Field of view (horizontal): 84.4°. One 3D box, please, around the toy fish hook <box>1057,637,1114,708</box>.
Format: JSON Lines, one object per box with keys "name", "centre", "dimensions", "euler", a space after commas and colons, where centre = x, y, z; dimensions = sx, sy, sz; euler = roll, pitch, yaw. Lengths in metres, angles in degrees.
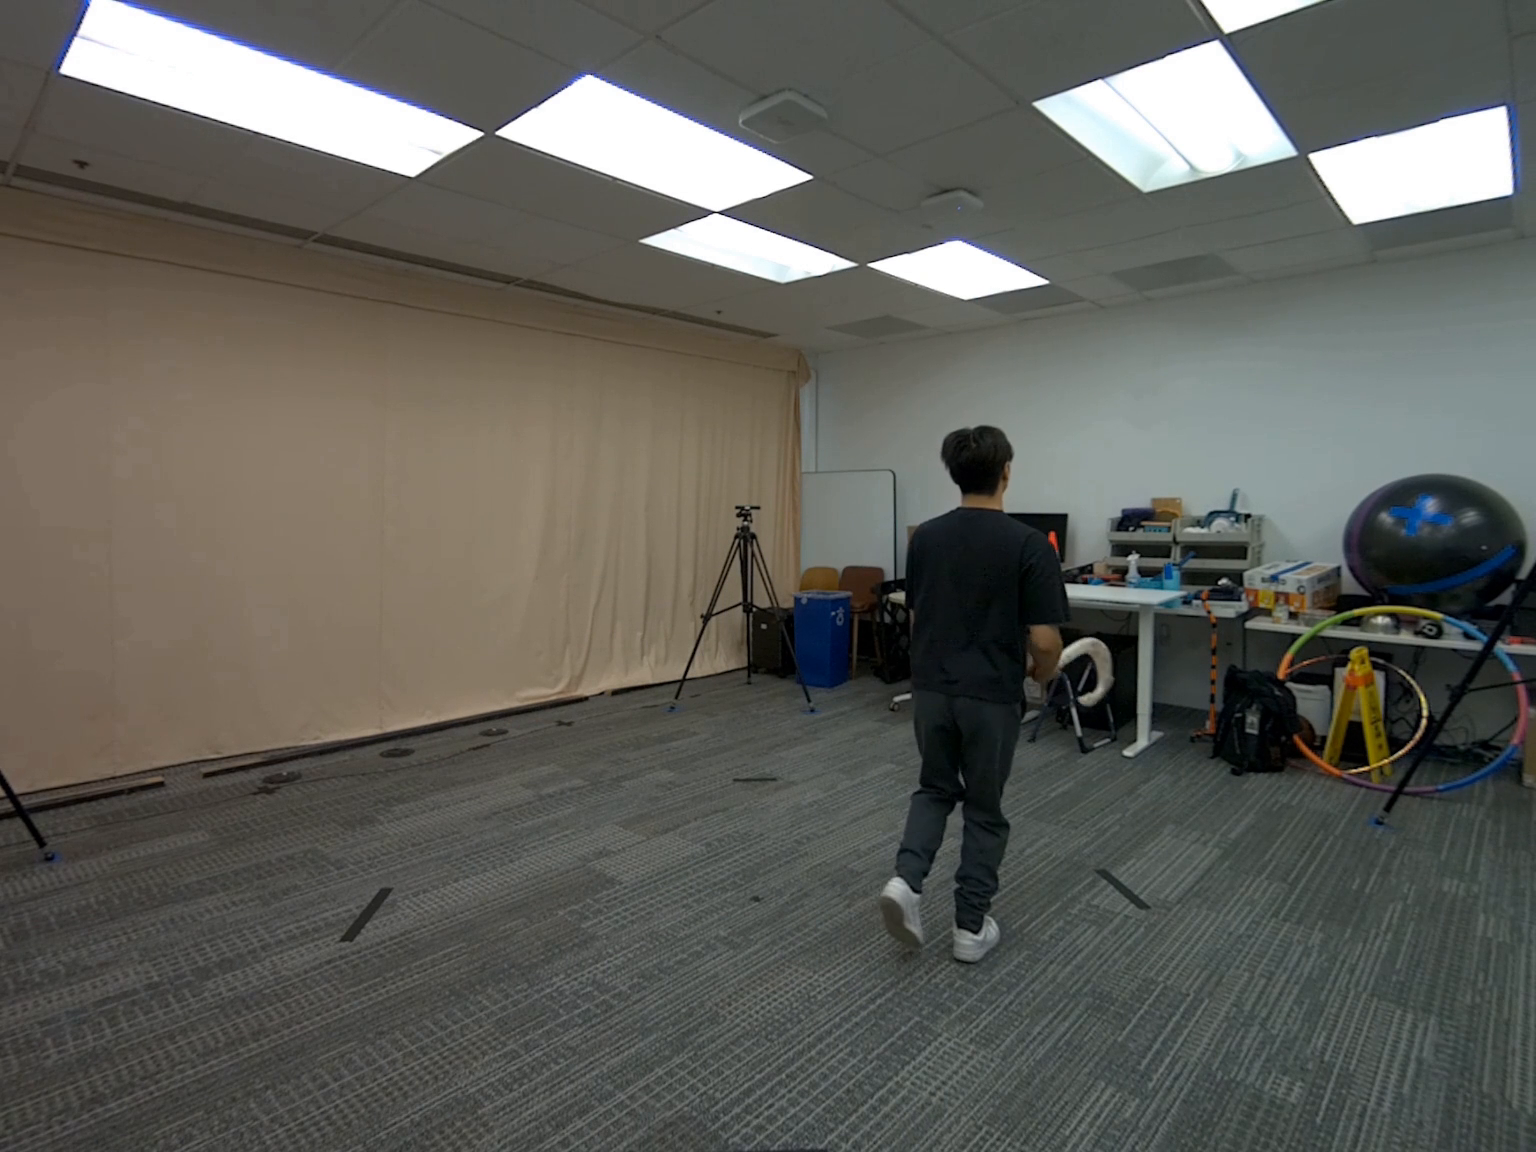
{"name": "toy fish hook", "centre": [0.995, 0.350, 2.811], "dimensions": [0.494, 0.226, 0.049], "euler": [-6, -8, -28]}
